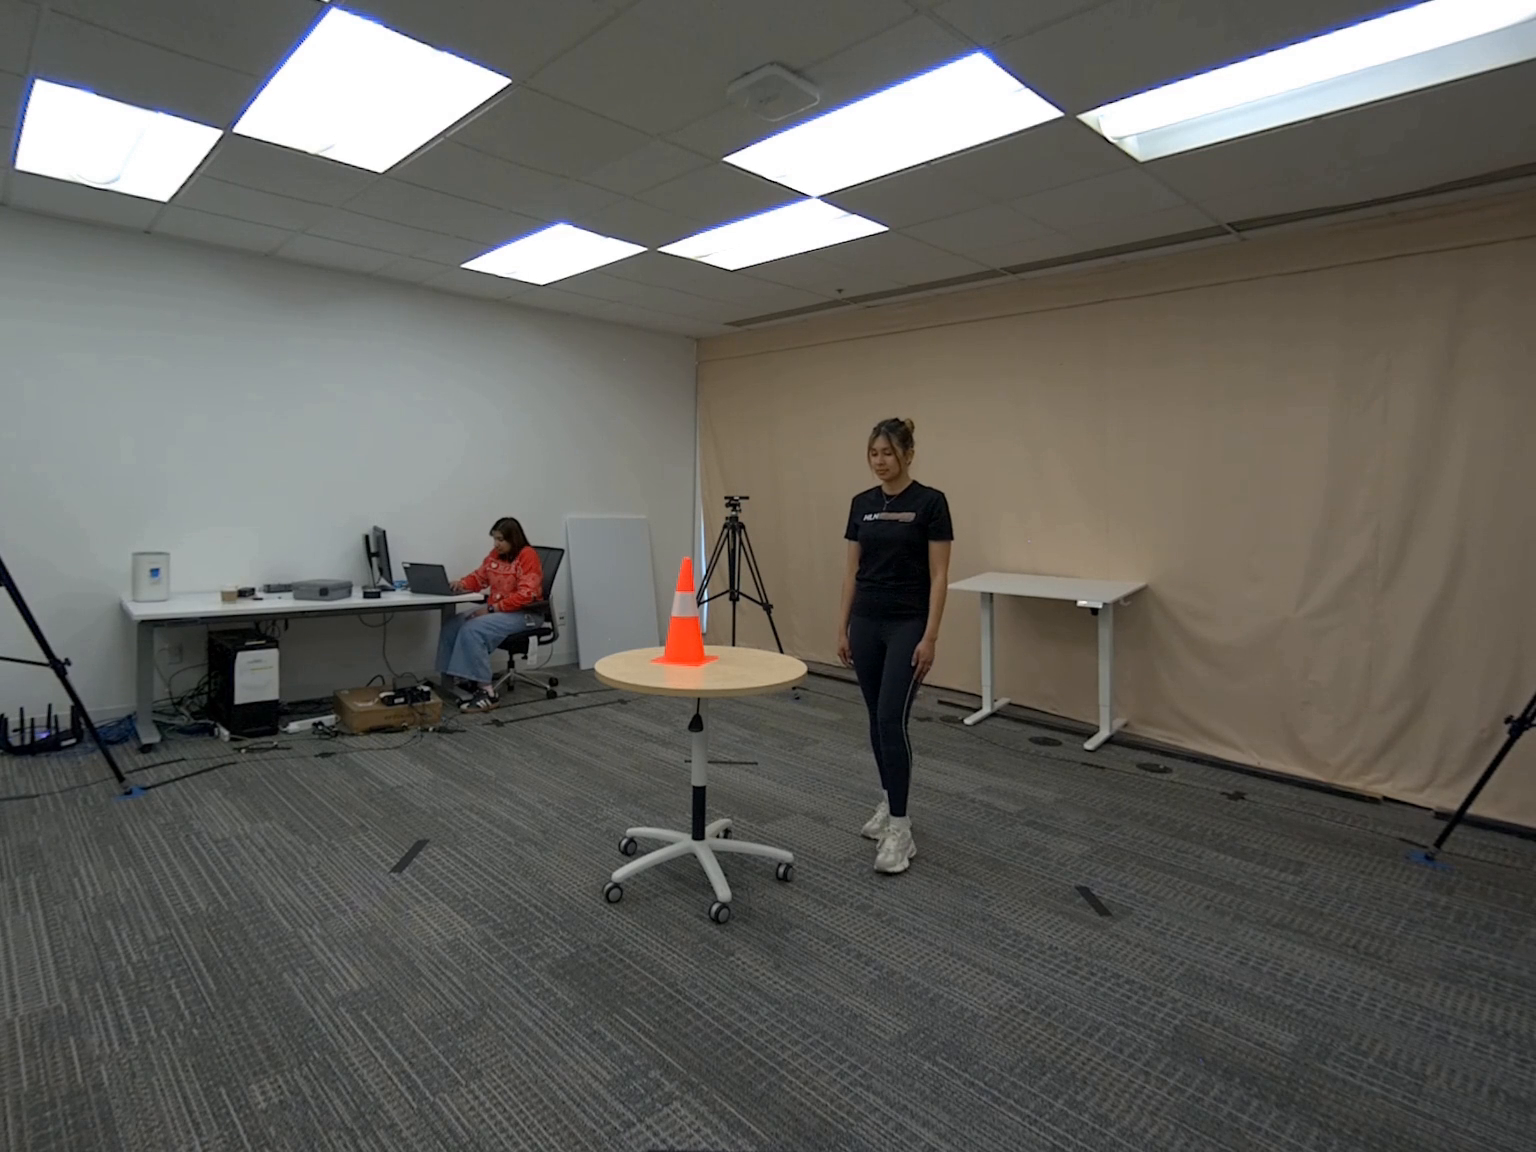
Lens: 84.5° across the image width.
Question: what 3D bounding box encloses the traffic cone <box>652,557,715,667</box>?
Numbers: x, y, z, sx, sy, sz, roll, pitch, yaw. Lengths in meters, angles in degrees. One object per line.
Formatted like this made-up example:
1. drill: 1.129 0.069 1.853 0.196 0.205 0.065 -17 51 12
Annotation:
1. traffic cone: -0.306 0.127 3.115 0.209 0.382 0.199 6 6 28
